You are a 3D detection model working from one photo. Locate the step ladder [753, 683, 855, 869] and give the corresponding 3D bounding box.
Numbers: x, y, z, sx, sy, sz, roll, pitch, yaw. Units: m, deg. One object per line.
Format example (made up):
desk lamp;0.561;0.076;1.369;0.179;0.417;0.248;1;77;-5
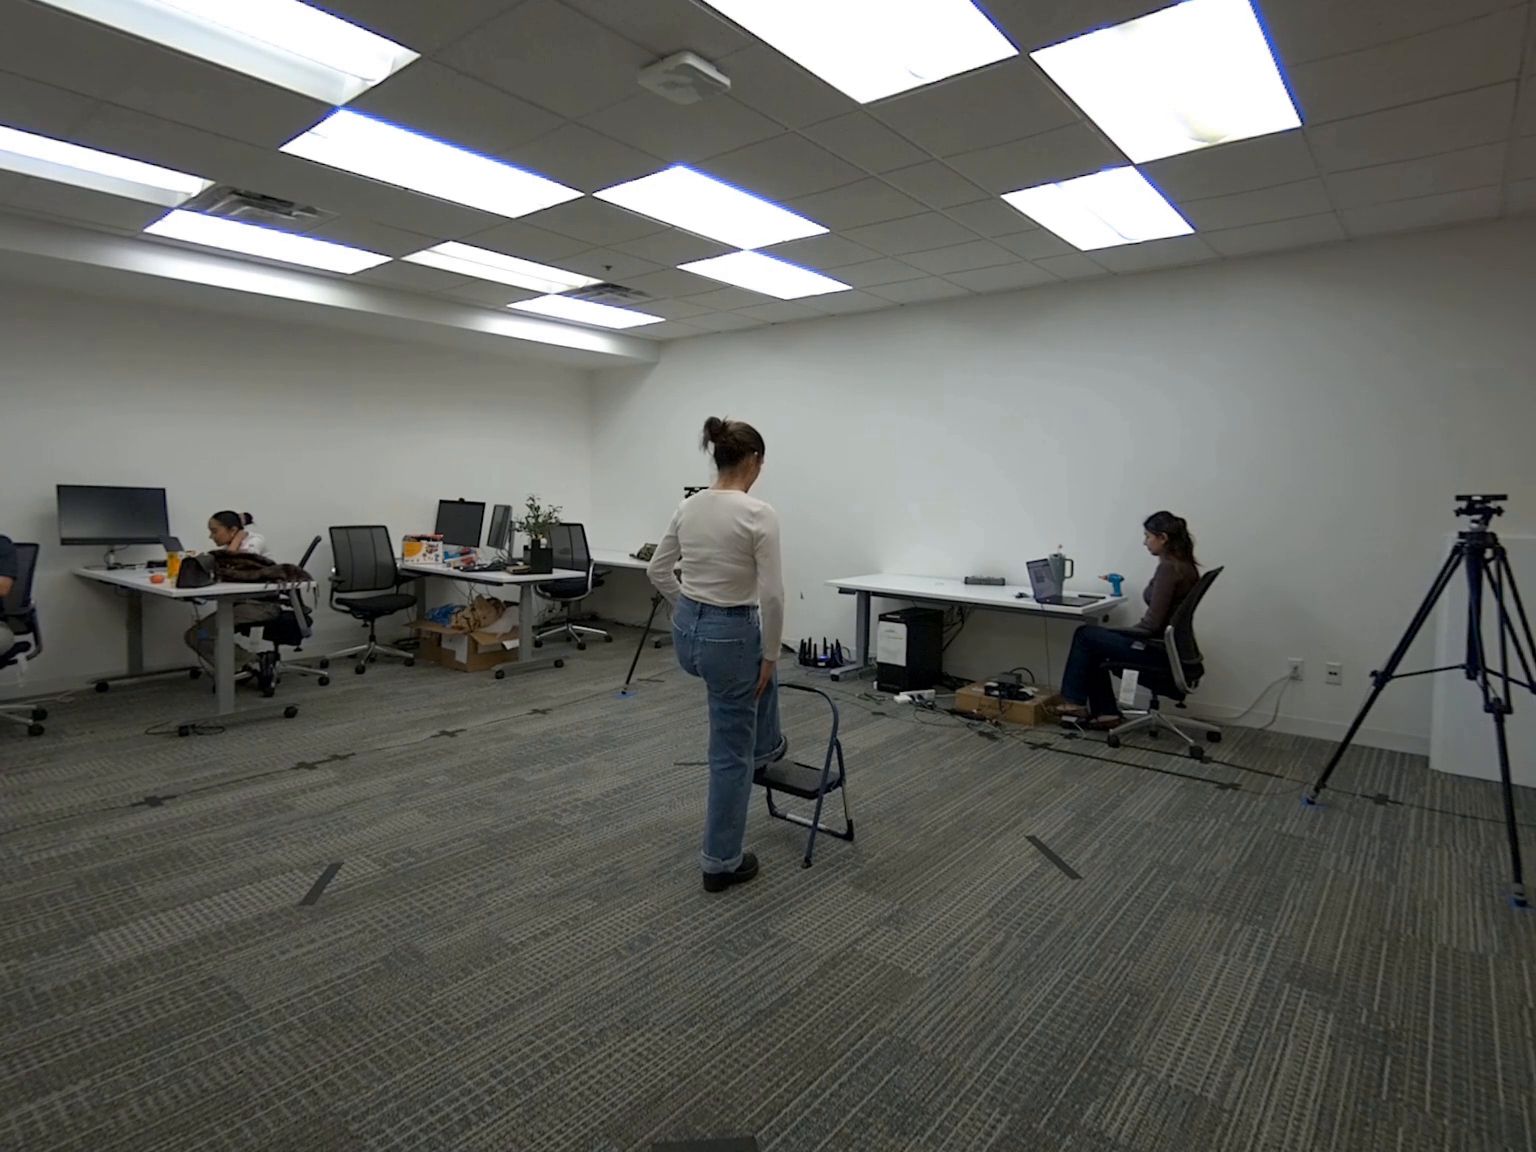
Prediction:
step ladder;0.078;0.740;3.374;0.445;0.604;0.339;4;4;38
